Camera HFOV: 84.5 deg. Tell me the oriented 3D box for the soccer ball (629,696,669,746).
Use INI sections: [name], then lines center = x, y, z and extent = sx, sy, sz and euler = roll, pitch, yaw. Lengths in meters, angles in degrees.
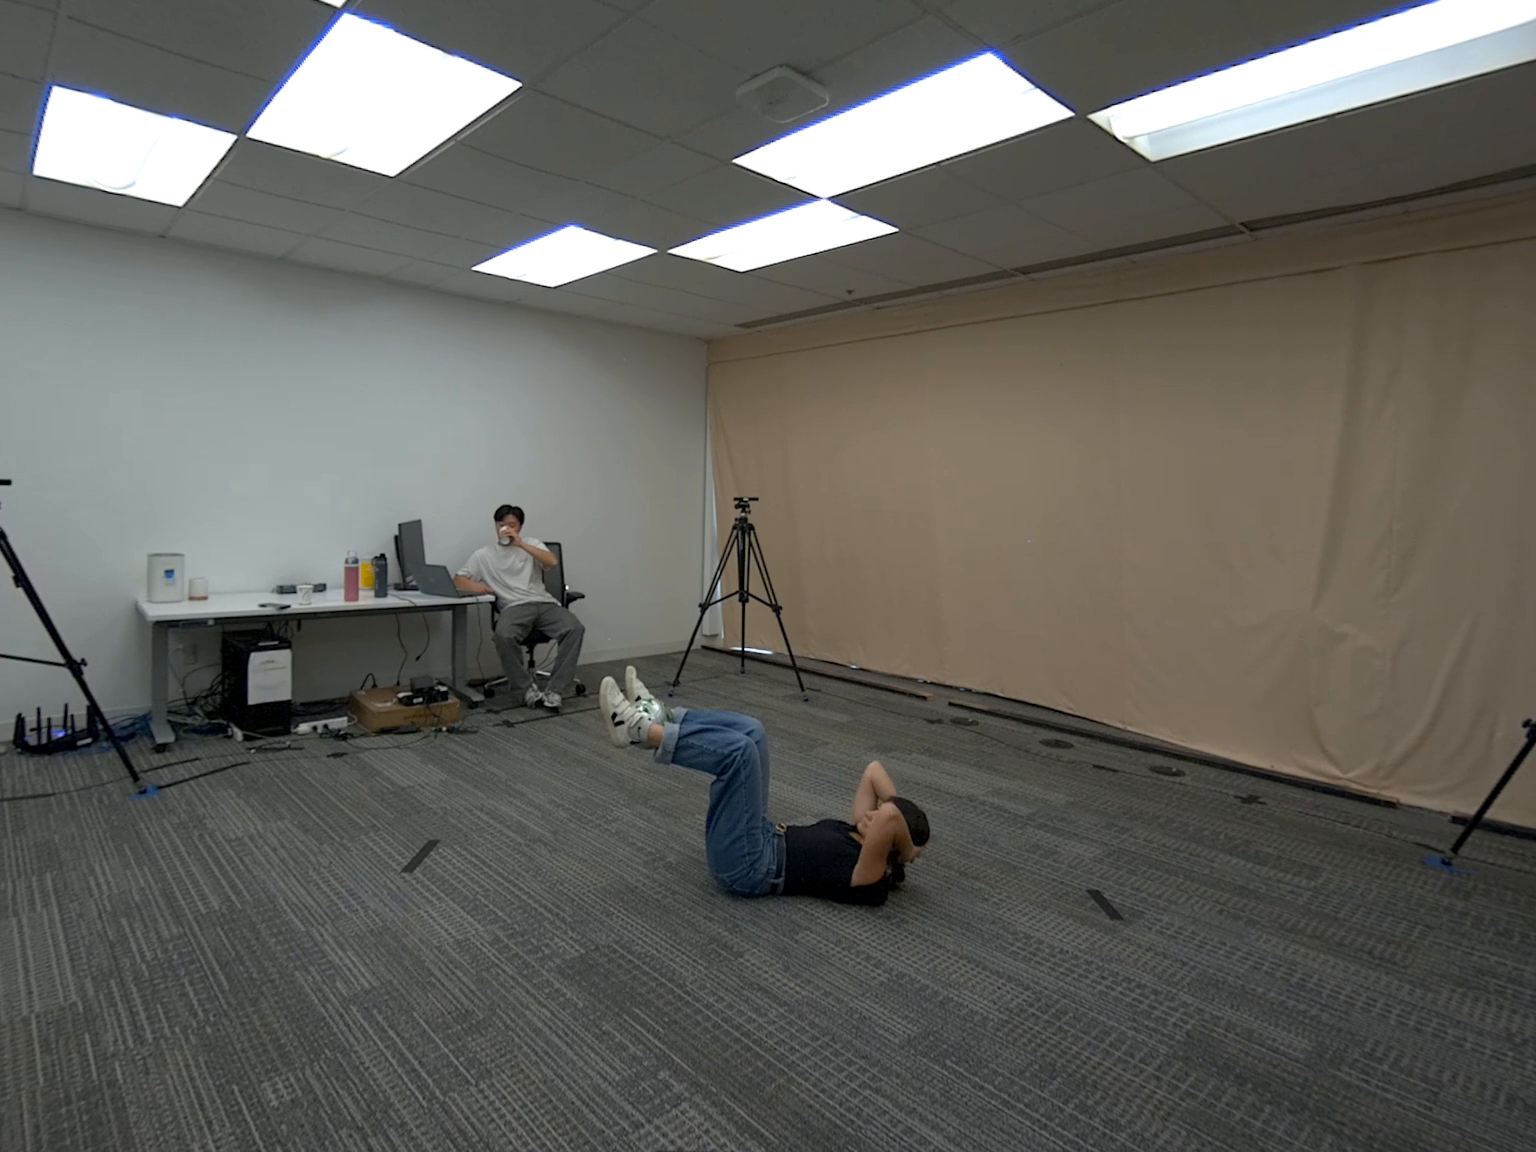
[soccer ball]
center = -0.457, 0.551, 3.088
extent = 0.187, 0.186, 0.188
euler = 1, 7, -1
